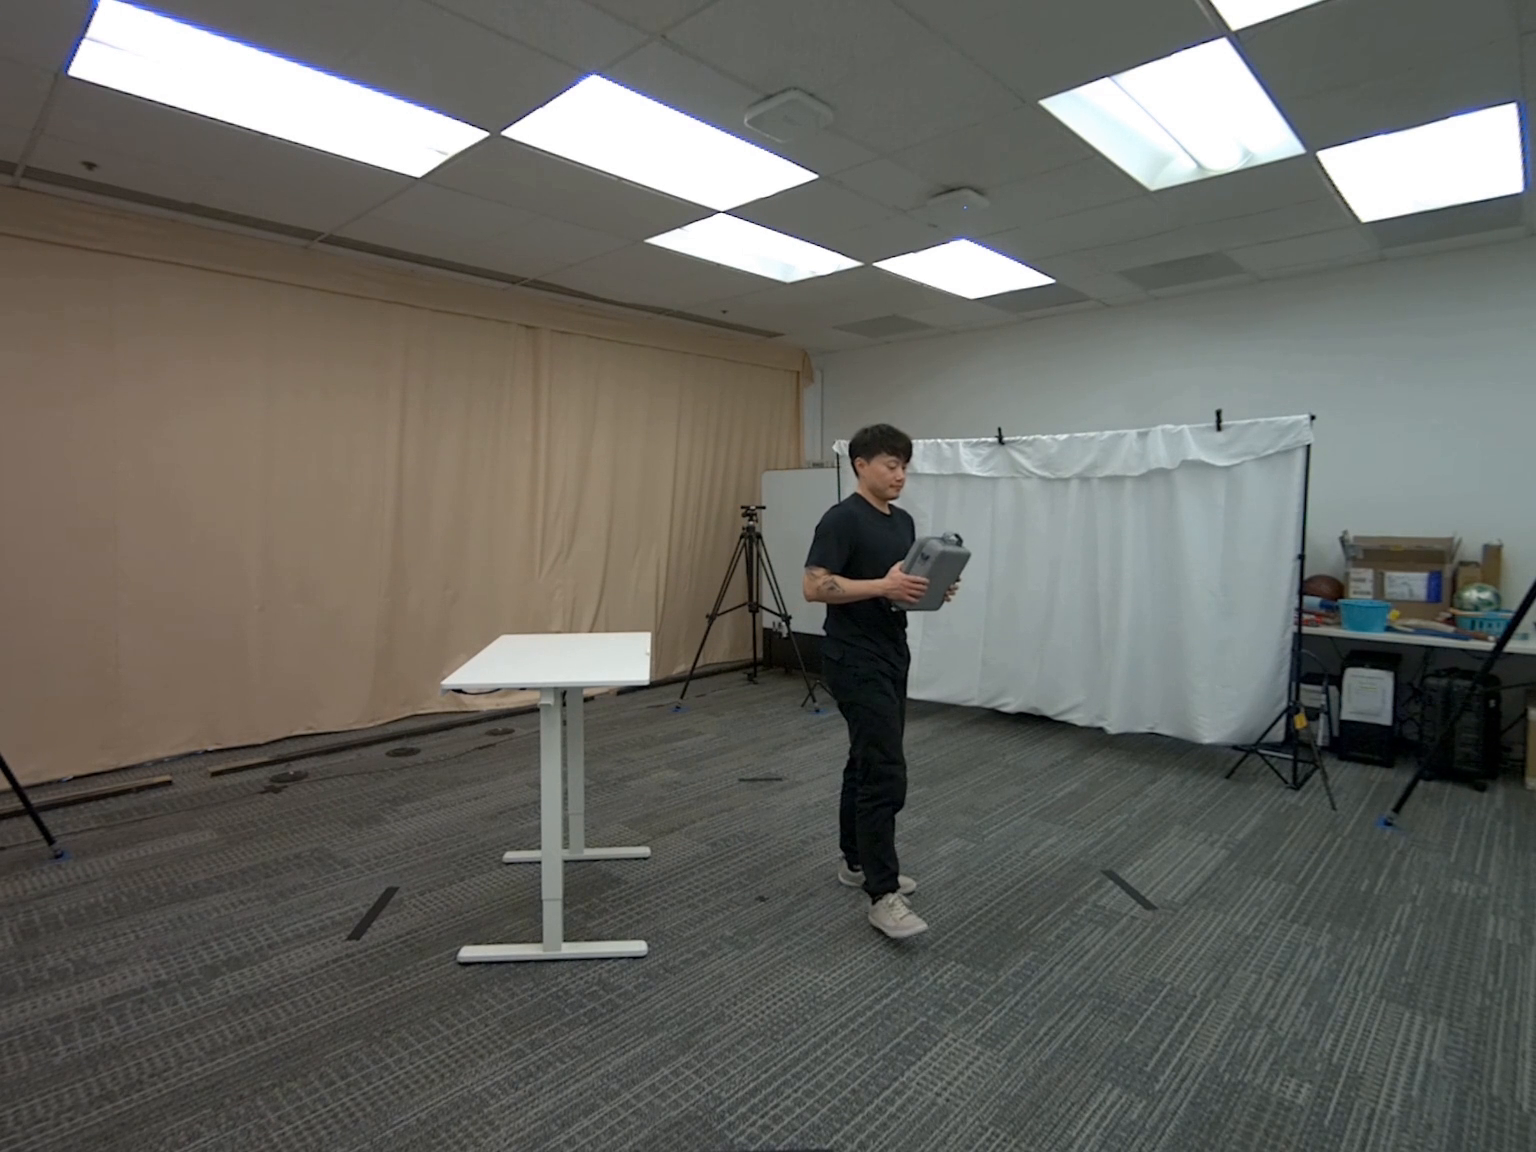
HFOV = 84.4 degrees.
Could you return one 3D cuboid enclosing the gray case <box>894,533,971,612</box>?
[{"bbox_3d":[0.540,-0.007,2.827,0.248,0.260,0.108,2,31,-50],"label":"gray case"}]
